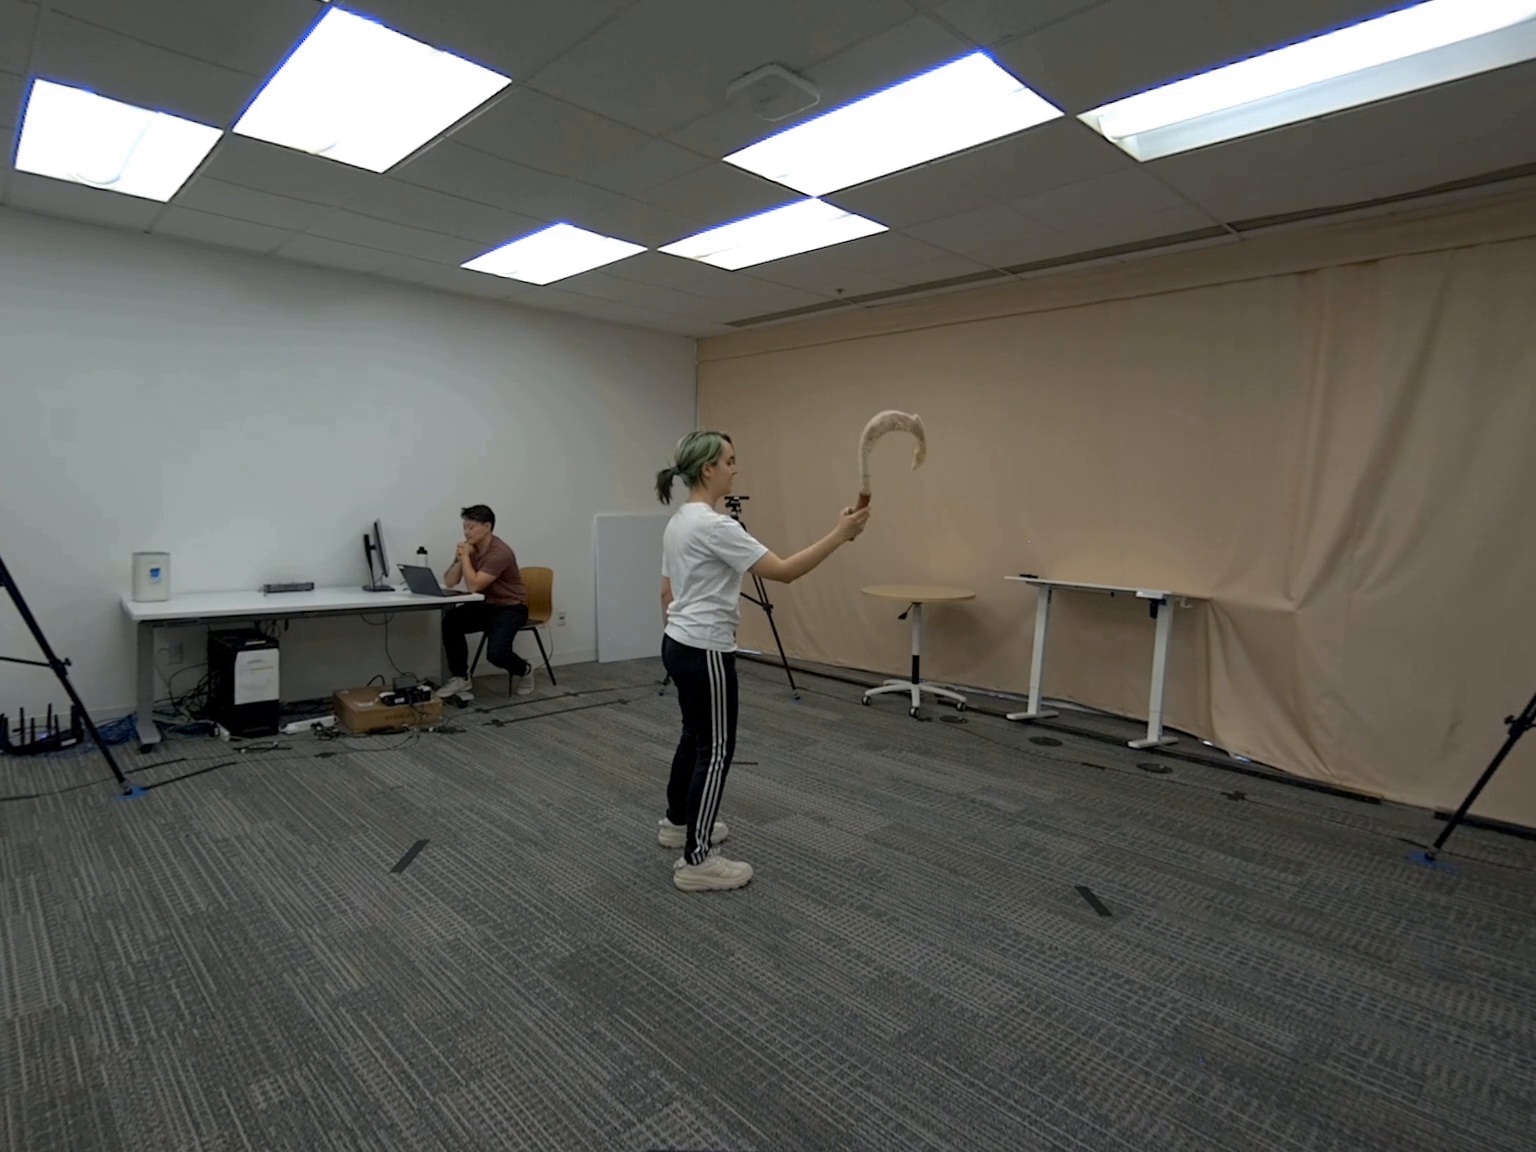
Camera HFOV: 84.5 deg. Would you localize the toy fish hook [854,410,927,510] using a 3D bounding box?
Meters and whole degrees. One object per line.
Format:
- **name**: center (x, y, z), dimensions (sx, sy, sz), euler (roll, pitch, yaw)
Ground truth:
- **toy fish hook**: center (0.382, -0.301, 2.841), dimensions (0.225, 0.499, 0.049), euler (13, 33, 2)
